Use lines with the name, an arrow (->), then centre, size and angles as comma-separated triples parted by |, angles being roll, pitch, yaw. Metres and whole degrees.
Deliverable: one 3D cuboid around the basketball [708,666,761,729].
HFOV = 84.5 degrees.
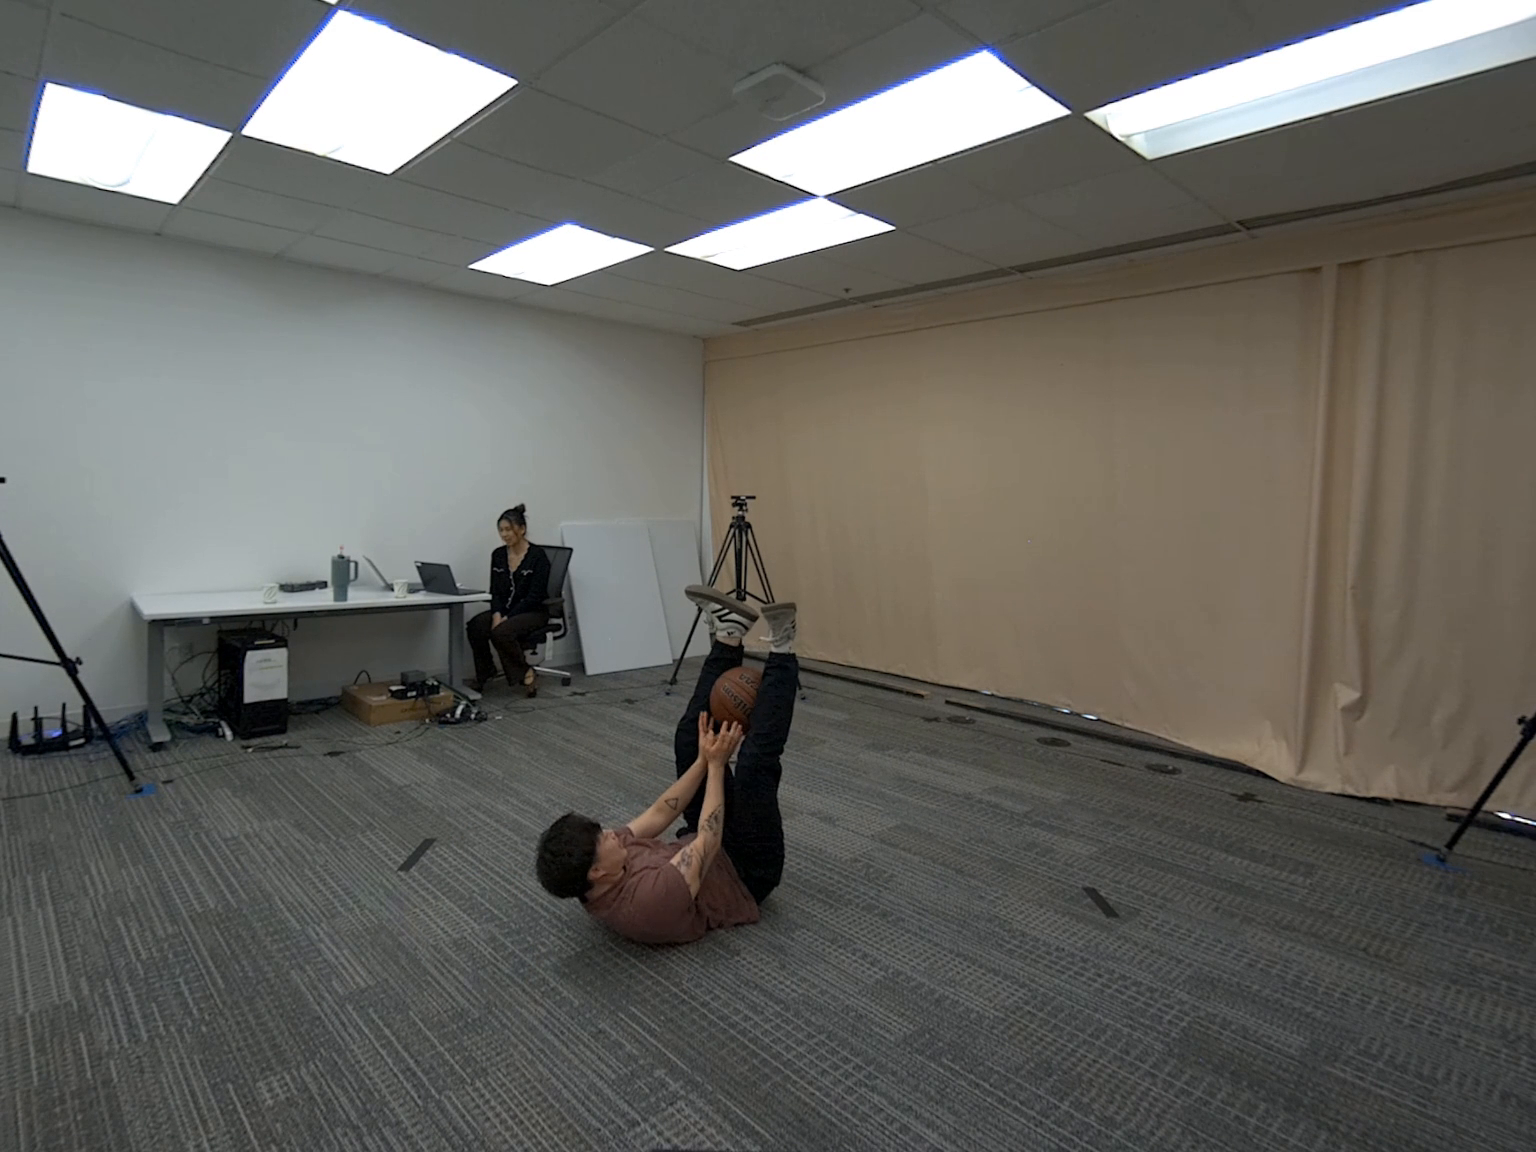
basketball -> -0.084, 0.439, 2.933 | 0.236, 0.235, 0.237 | 2, 4, -2
